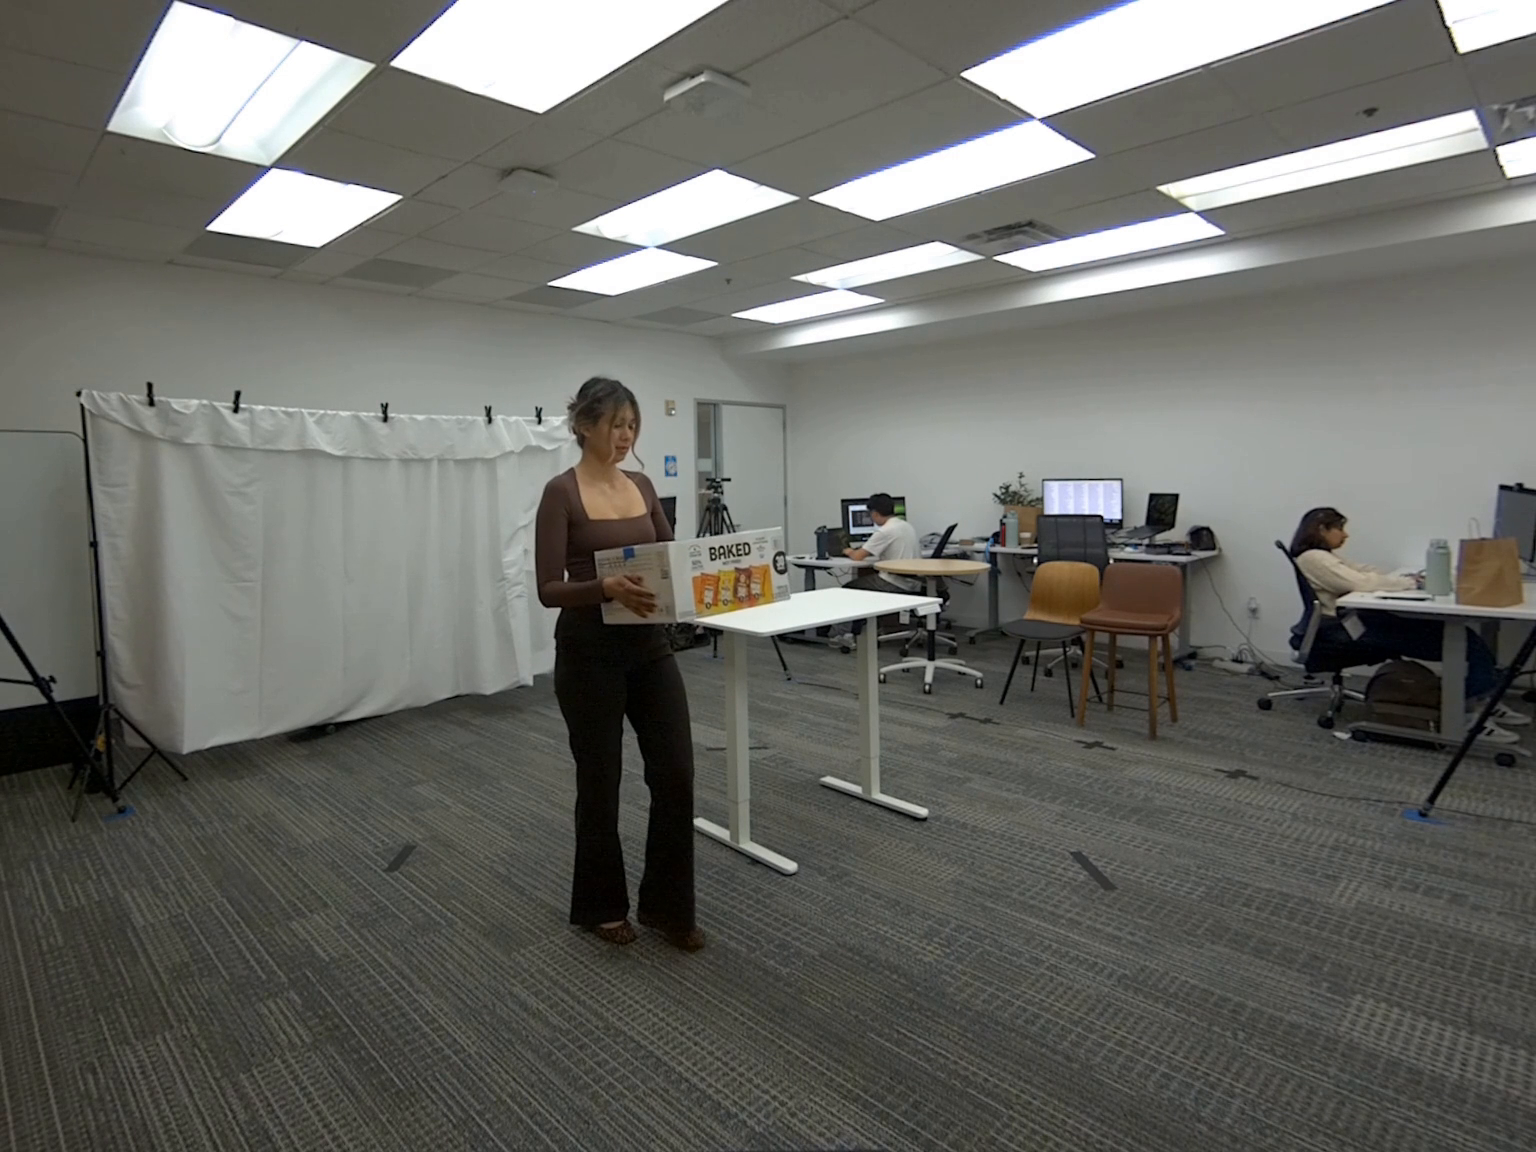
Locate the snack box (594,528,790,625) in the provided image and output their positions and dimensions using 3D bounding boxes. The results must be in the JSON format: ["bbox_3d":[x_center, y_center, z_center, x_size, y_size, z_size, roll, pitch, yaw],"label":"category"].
[{"bbox_3d":[-0.207,0.003,2.355,0.395,0.205,0.349,-10,3,-41],"label":"snack box"}]
